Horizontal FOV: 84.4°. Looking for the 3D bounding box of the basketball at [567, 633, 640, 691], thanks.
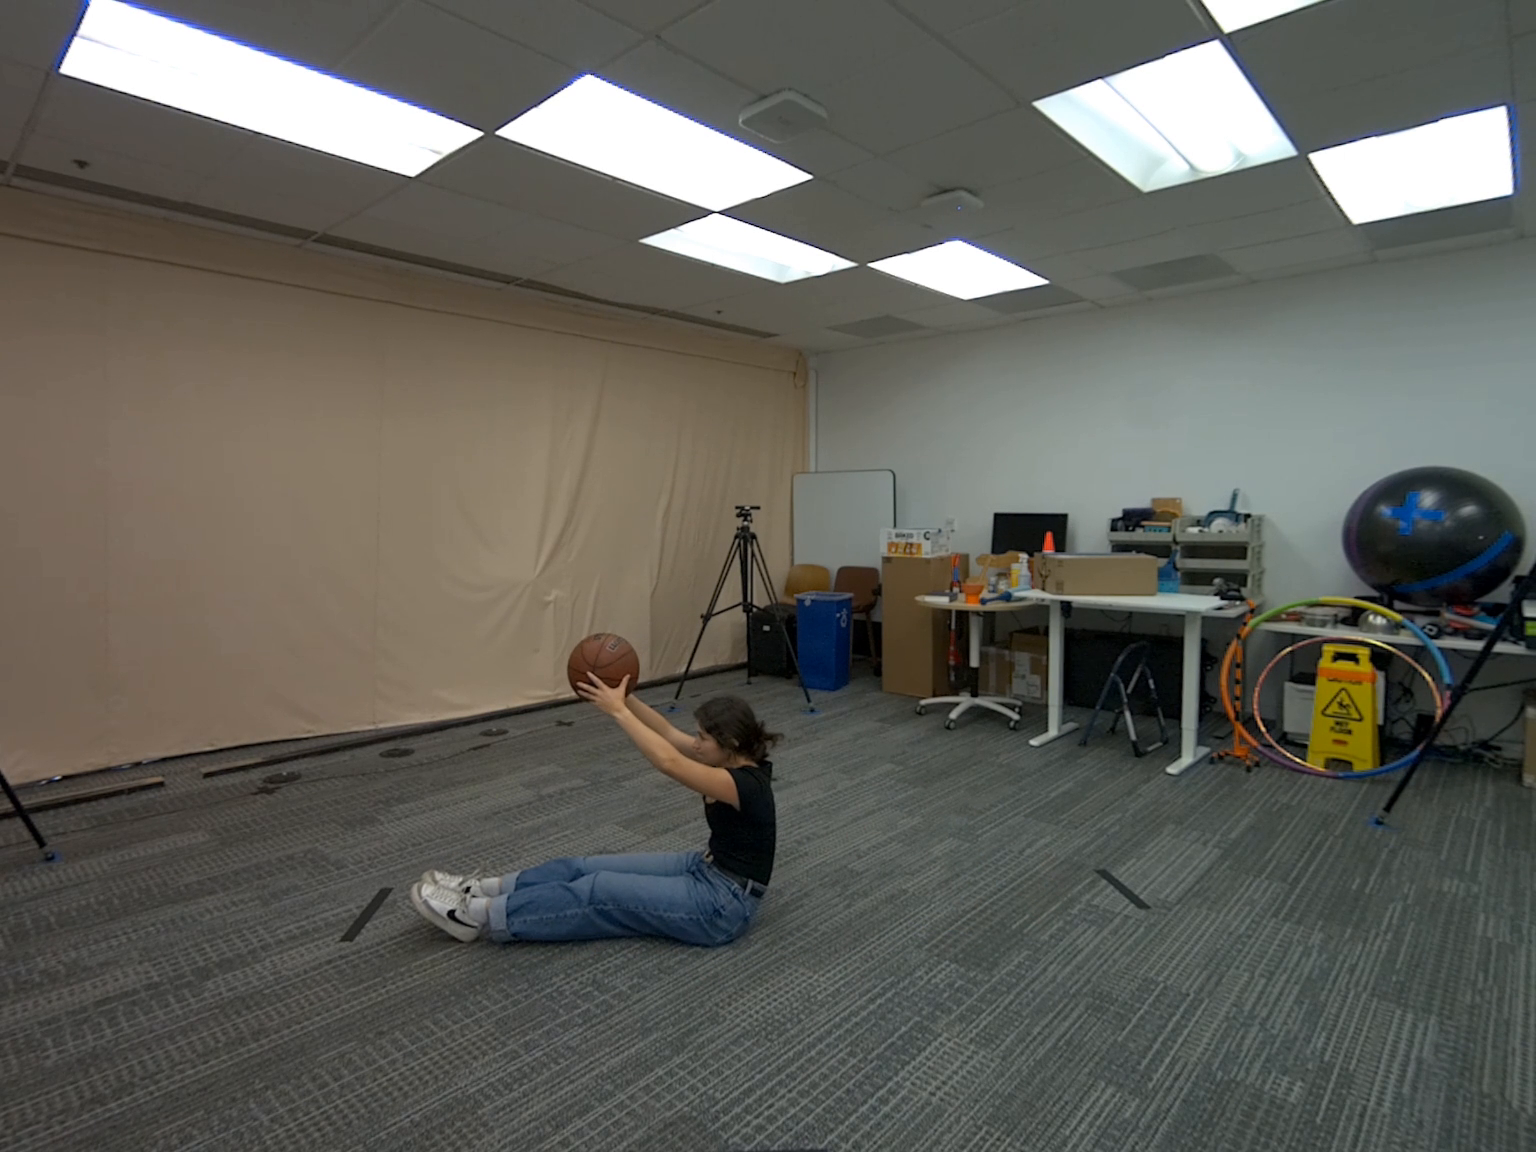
[{"bbox_3d":[-0.535,0.305,2.788,0.236,0.235,0.237,0,4,-2],"label":"basketball"}]
